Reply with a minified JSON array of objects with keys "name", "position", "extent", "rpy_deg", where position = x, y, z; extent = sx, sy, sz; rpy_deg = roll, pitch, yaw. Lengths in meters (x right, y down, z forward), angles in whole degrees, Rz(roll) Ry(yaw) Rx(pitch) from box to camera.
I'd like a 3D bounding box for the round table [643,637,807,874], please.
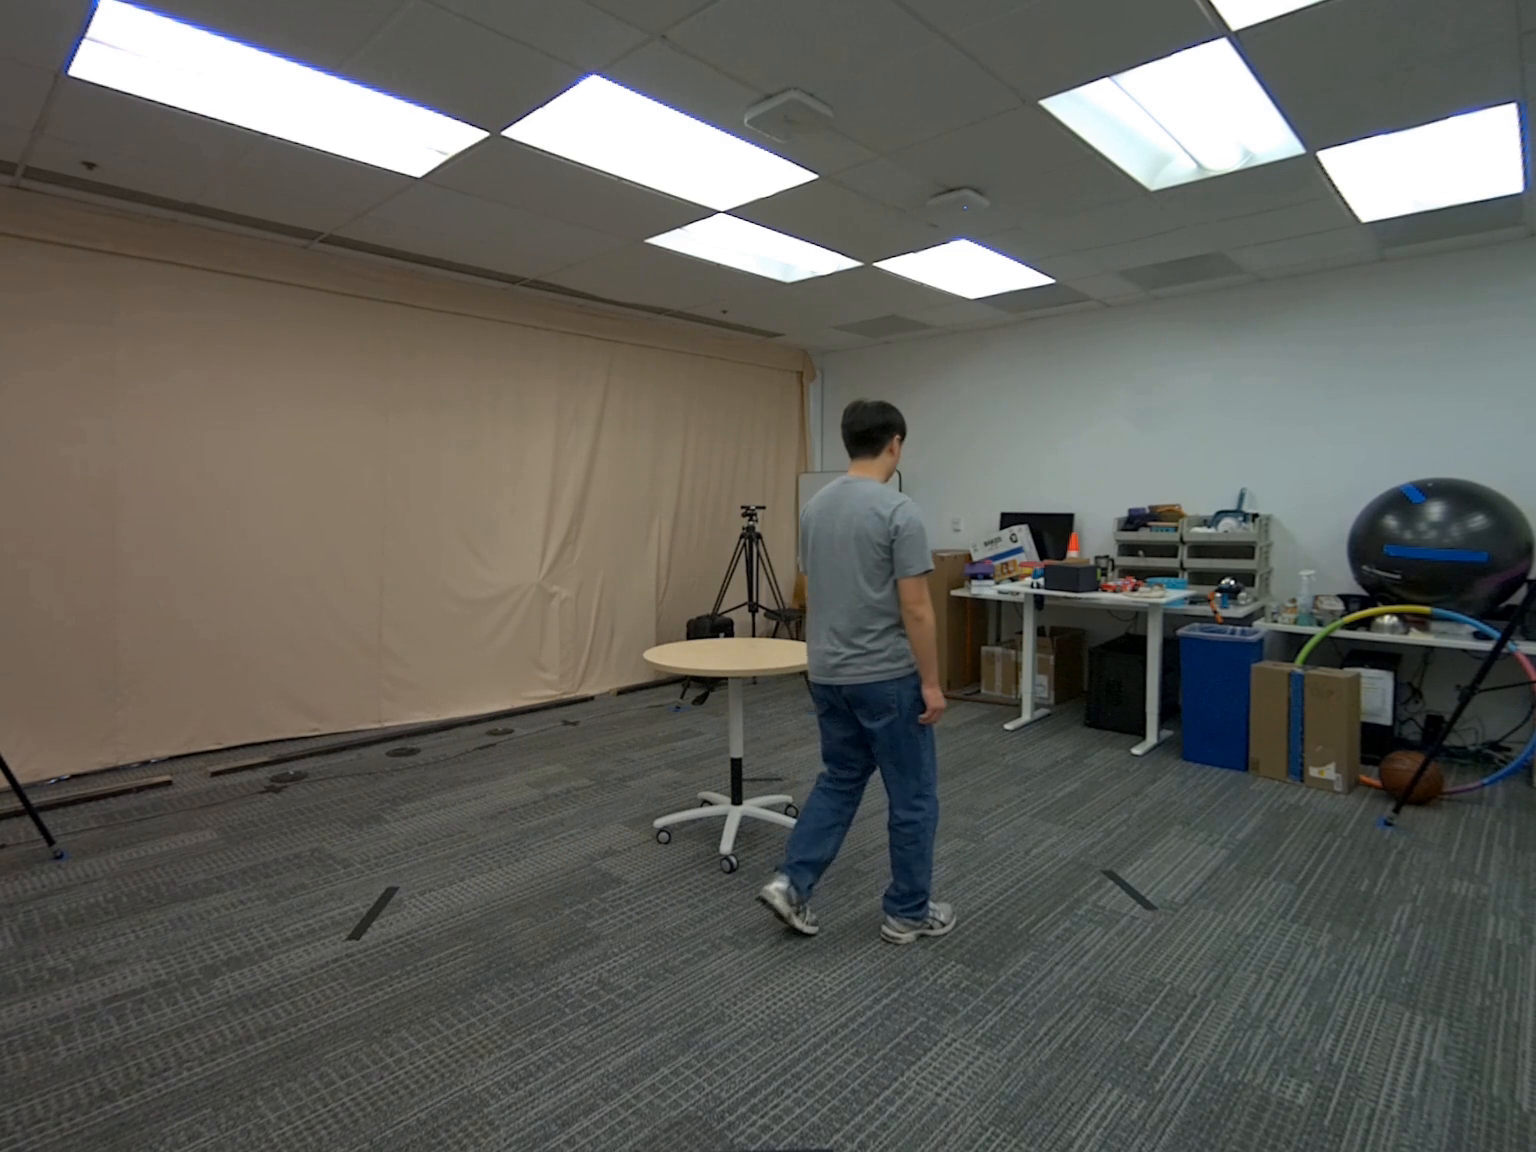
[{"name":"round table","position":[-0.131,0.712,3.523],"extent":[0.763,0.792,0.766],"rpy_deg":[-1,3,-2]}]
